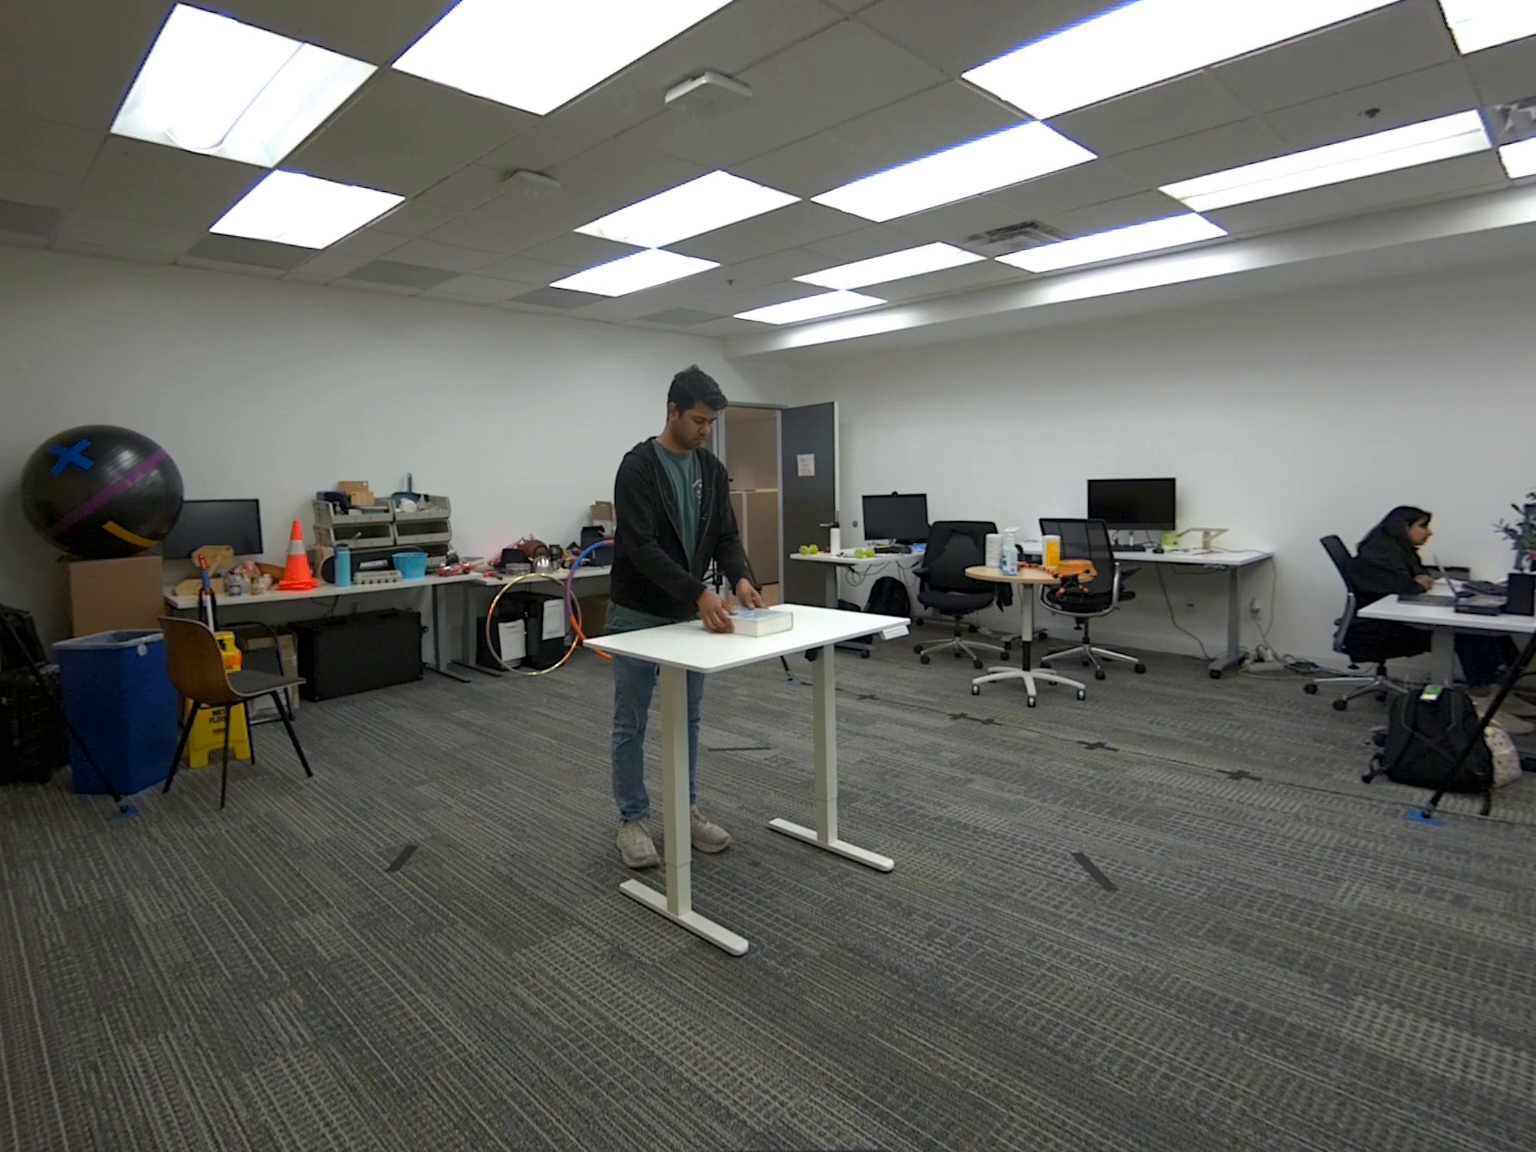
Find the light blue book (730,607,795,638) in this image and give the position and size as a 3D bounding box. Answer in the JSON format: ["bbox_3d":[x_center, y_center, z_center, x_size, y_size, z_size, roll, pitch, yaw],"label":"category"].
[{"bbox_3d":[-0.077,0.158,2.918,0.269,0.059,0.187,4,10,42],"label":"light blue book"}]
